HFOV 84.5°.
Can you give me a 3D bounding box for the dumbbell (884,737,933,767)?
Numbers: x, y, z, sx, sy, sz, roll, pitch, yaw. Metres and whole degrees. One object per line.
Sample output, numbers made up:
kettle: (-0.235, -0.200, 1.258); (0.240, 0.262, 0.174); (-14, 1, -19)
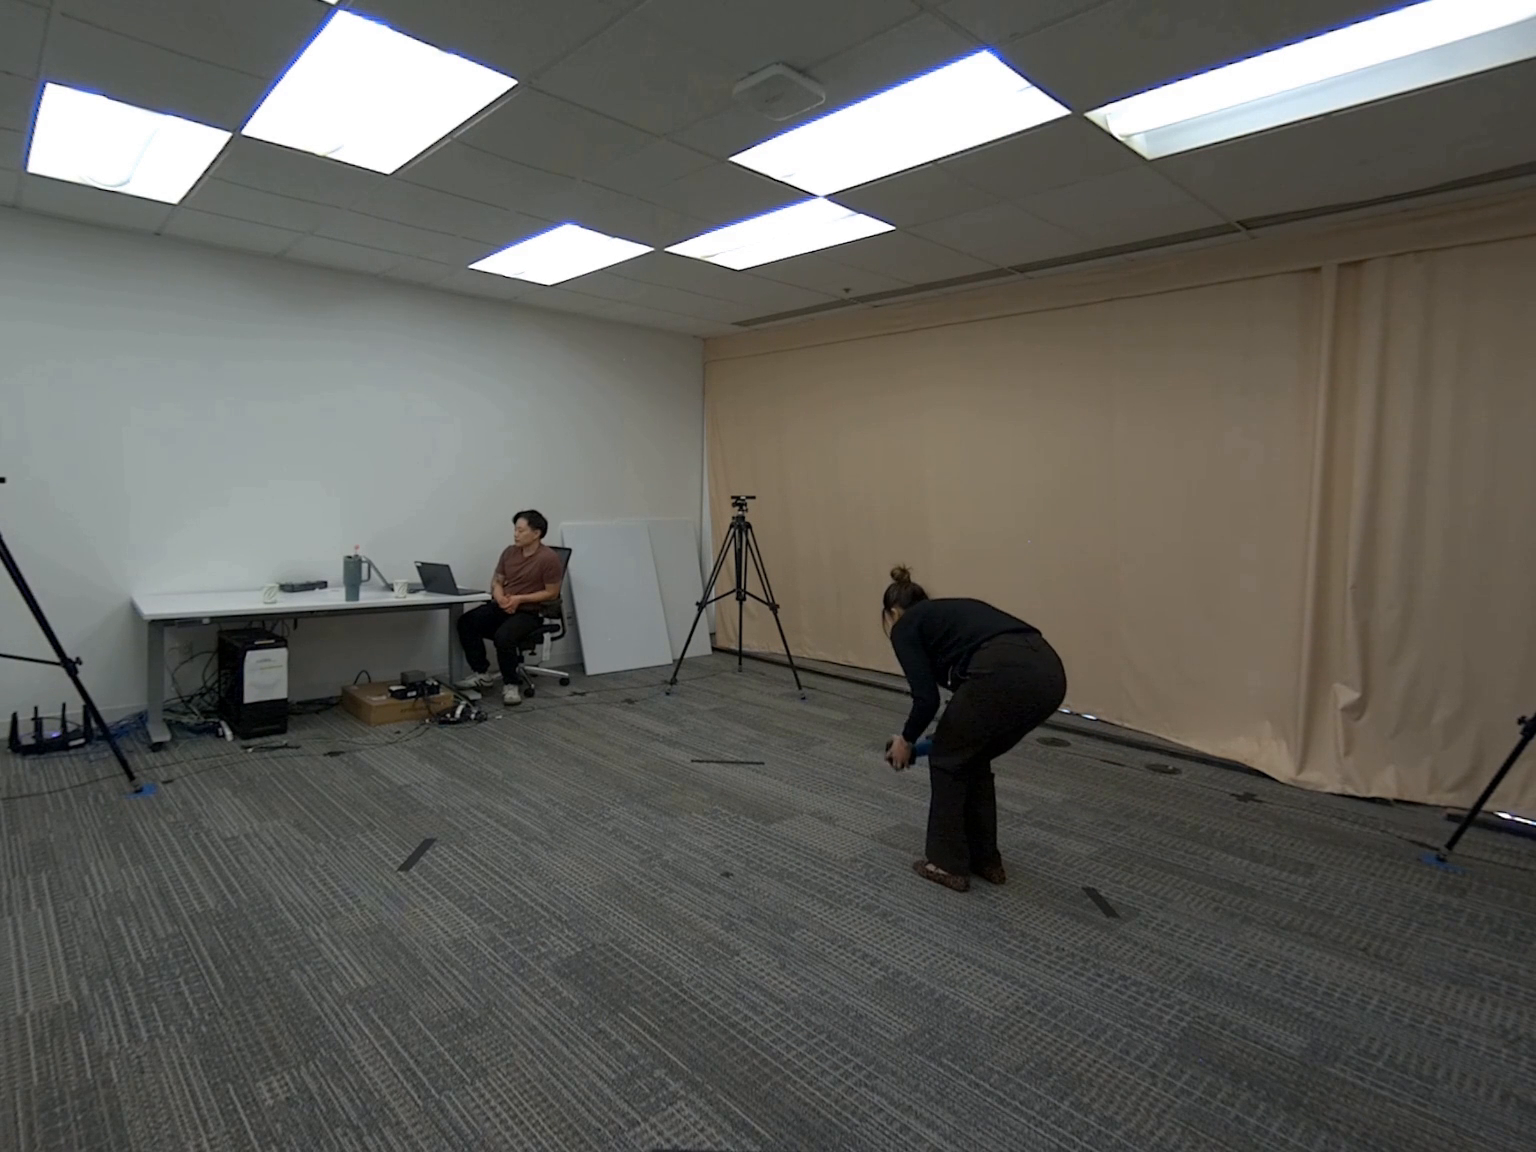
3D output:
dumbbell: (0.611, 0.683, 3.320); (0.287, 0.110, 0.124); (-1, -18, -30)
